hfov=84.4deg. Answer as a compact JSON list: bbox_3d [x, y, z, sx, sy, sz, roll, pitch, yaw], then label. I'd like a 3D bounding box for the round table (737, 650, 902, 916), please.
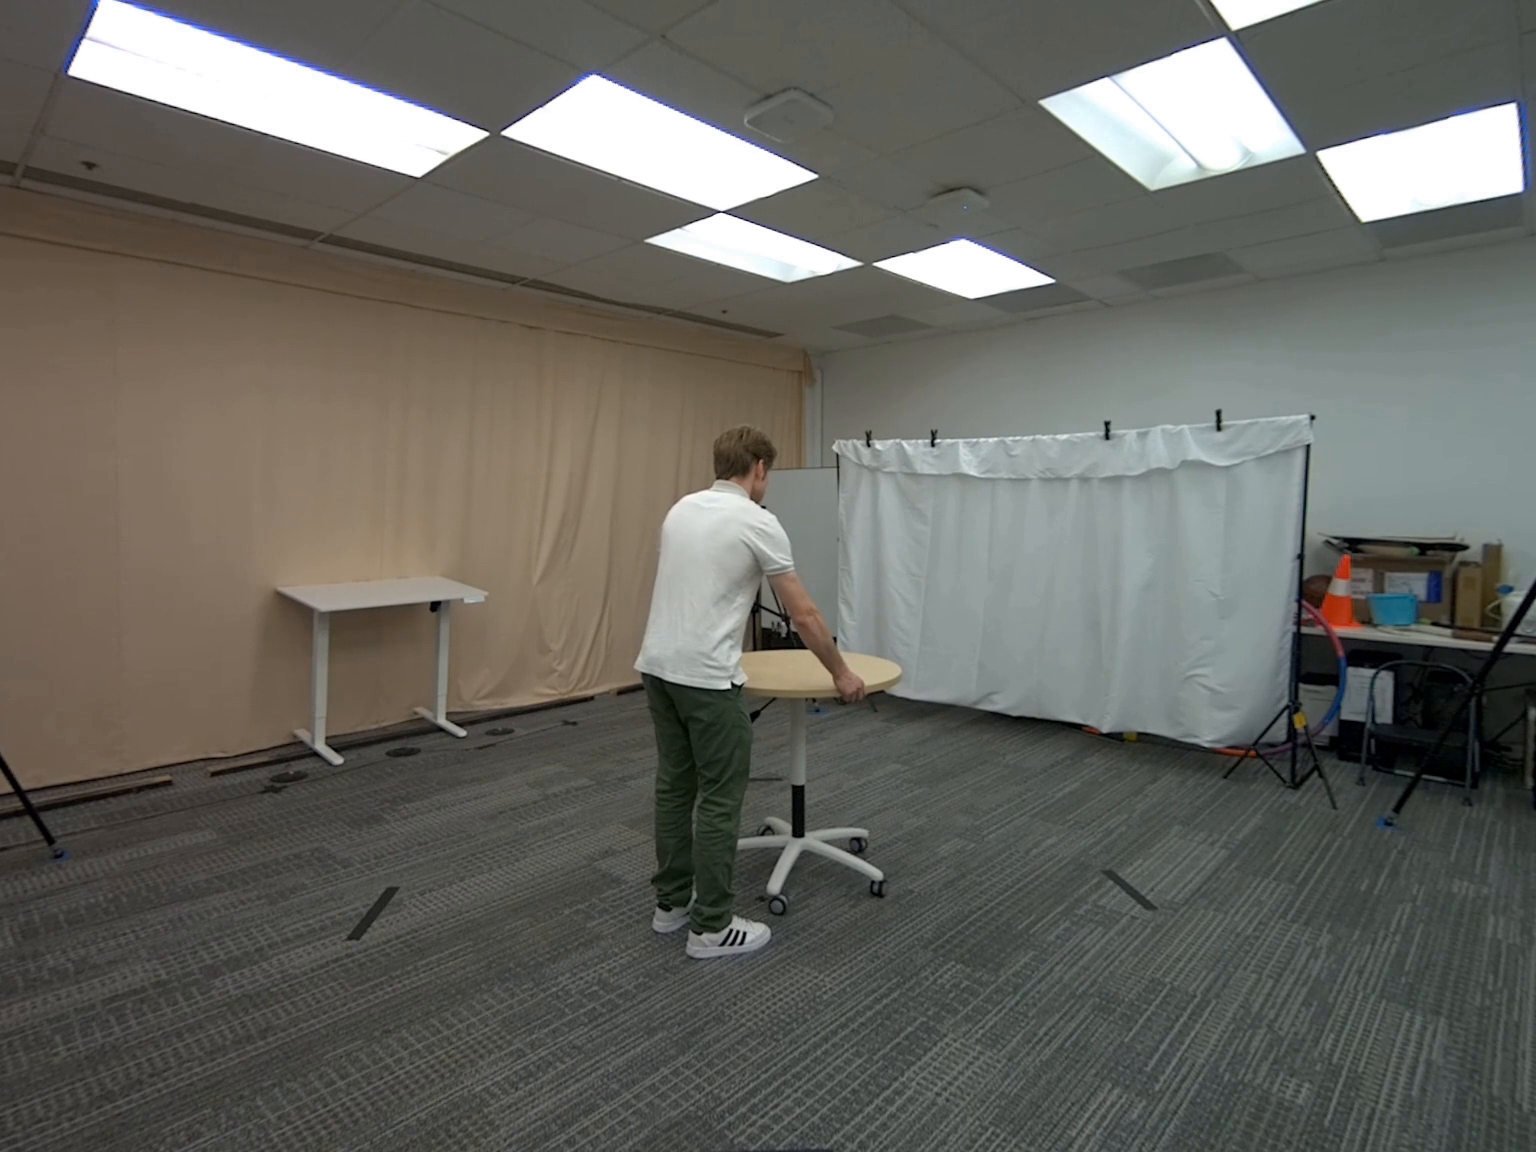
[{"bbox_3d":[0.125,0.737,3.179,0.763,0.792,0.767,0,4,-2],"label":"round table"}]
